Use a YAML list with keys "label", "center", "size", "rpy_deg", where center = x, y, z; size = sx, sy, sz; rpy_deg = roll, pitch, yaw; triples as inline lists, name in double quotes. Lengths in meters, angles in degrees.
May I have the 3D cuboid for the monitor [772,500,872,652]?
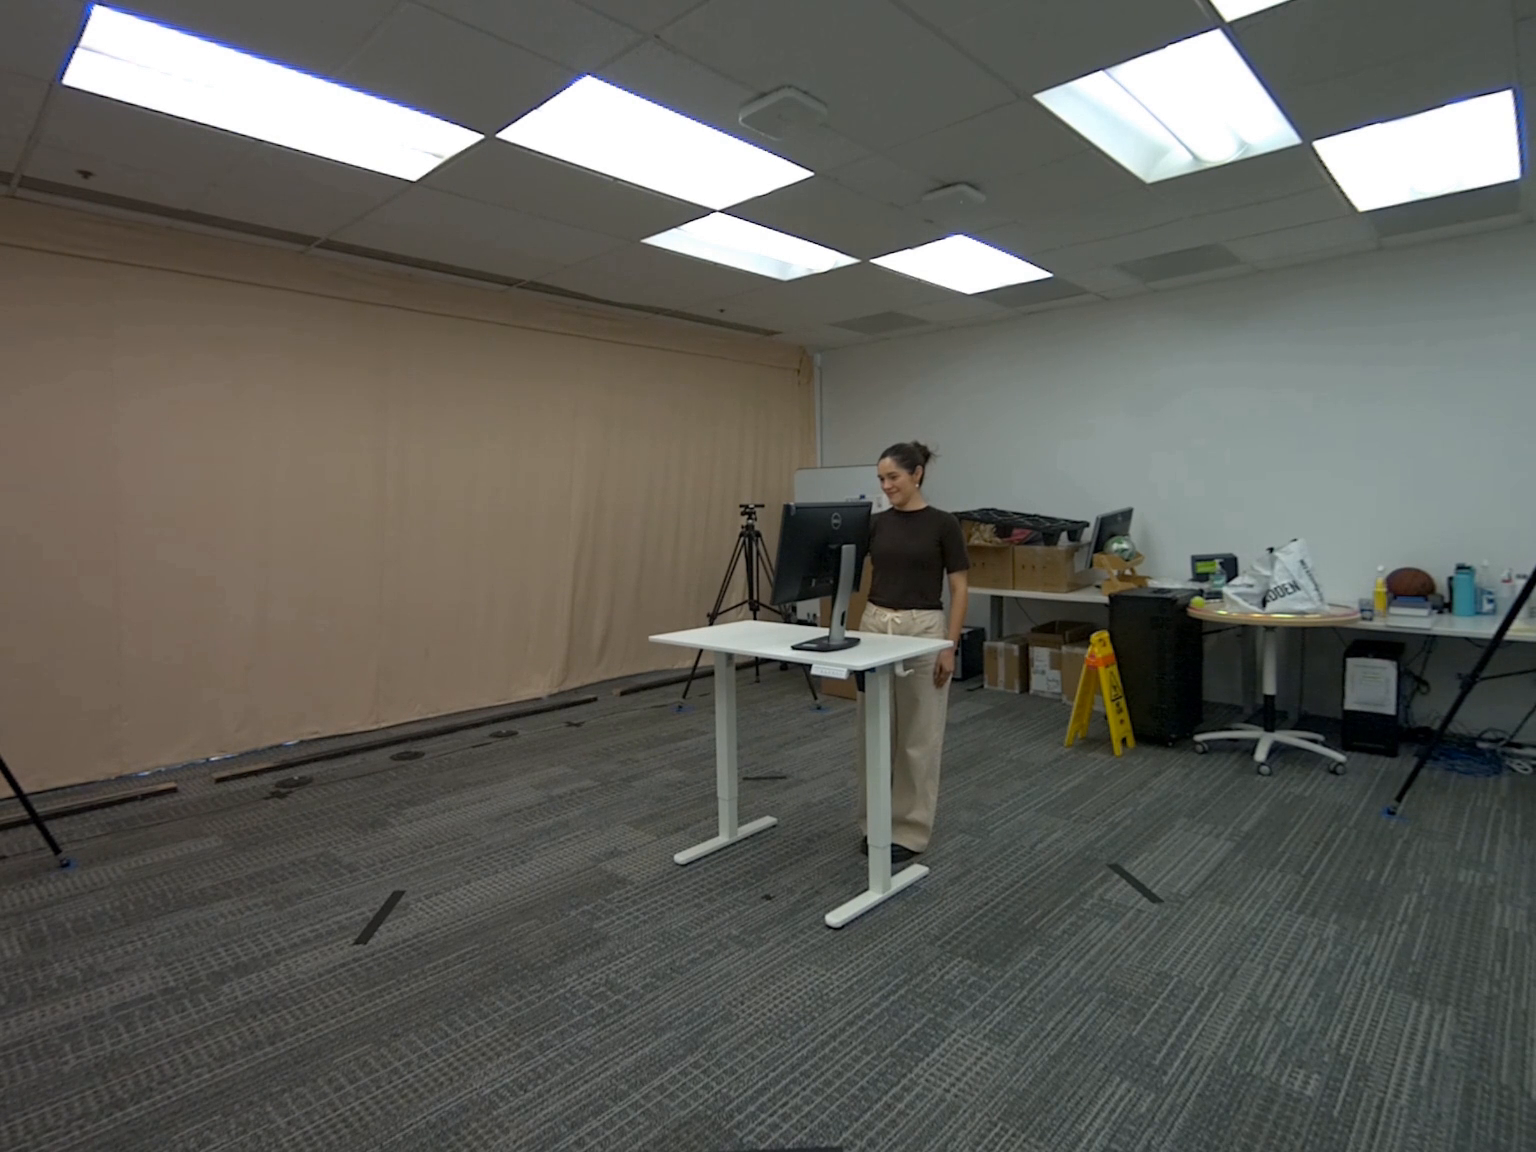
- label: "monitor"
  center: [0.226, -0.001, 2.994]
  size: [0.193, 0.521, 0.523]
  rpy_deg: [1, 4, 40]
